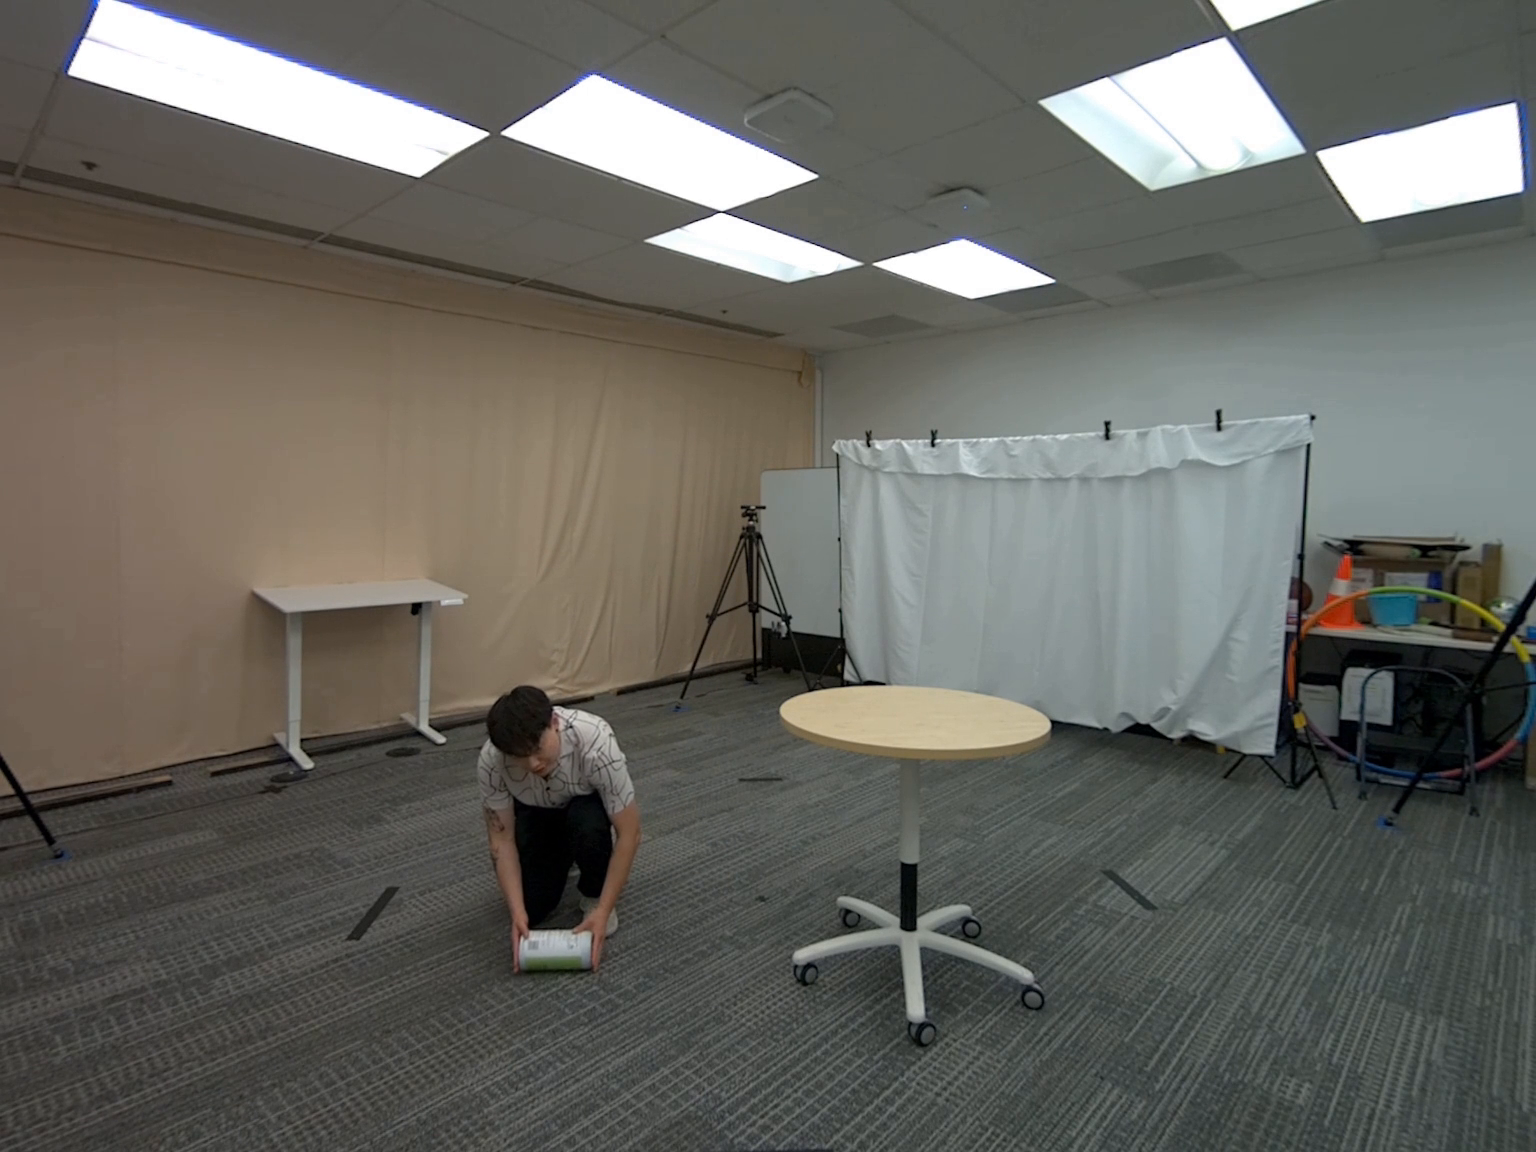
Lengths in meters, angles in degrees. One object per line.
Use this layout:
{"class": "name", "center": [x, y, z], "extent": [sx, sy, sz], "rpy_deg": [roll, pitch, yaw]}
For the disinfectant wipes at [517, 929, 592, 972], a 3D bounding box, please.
{"class": "disinfectant wipes", "center": [-0.638, 1.124, 2.543], "extent": [0.217, 0.117, 0.118], "rpy_deg": [-1, 4, -3]}
